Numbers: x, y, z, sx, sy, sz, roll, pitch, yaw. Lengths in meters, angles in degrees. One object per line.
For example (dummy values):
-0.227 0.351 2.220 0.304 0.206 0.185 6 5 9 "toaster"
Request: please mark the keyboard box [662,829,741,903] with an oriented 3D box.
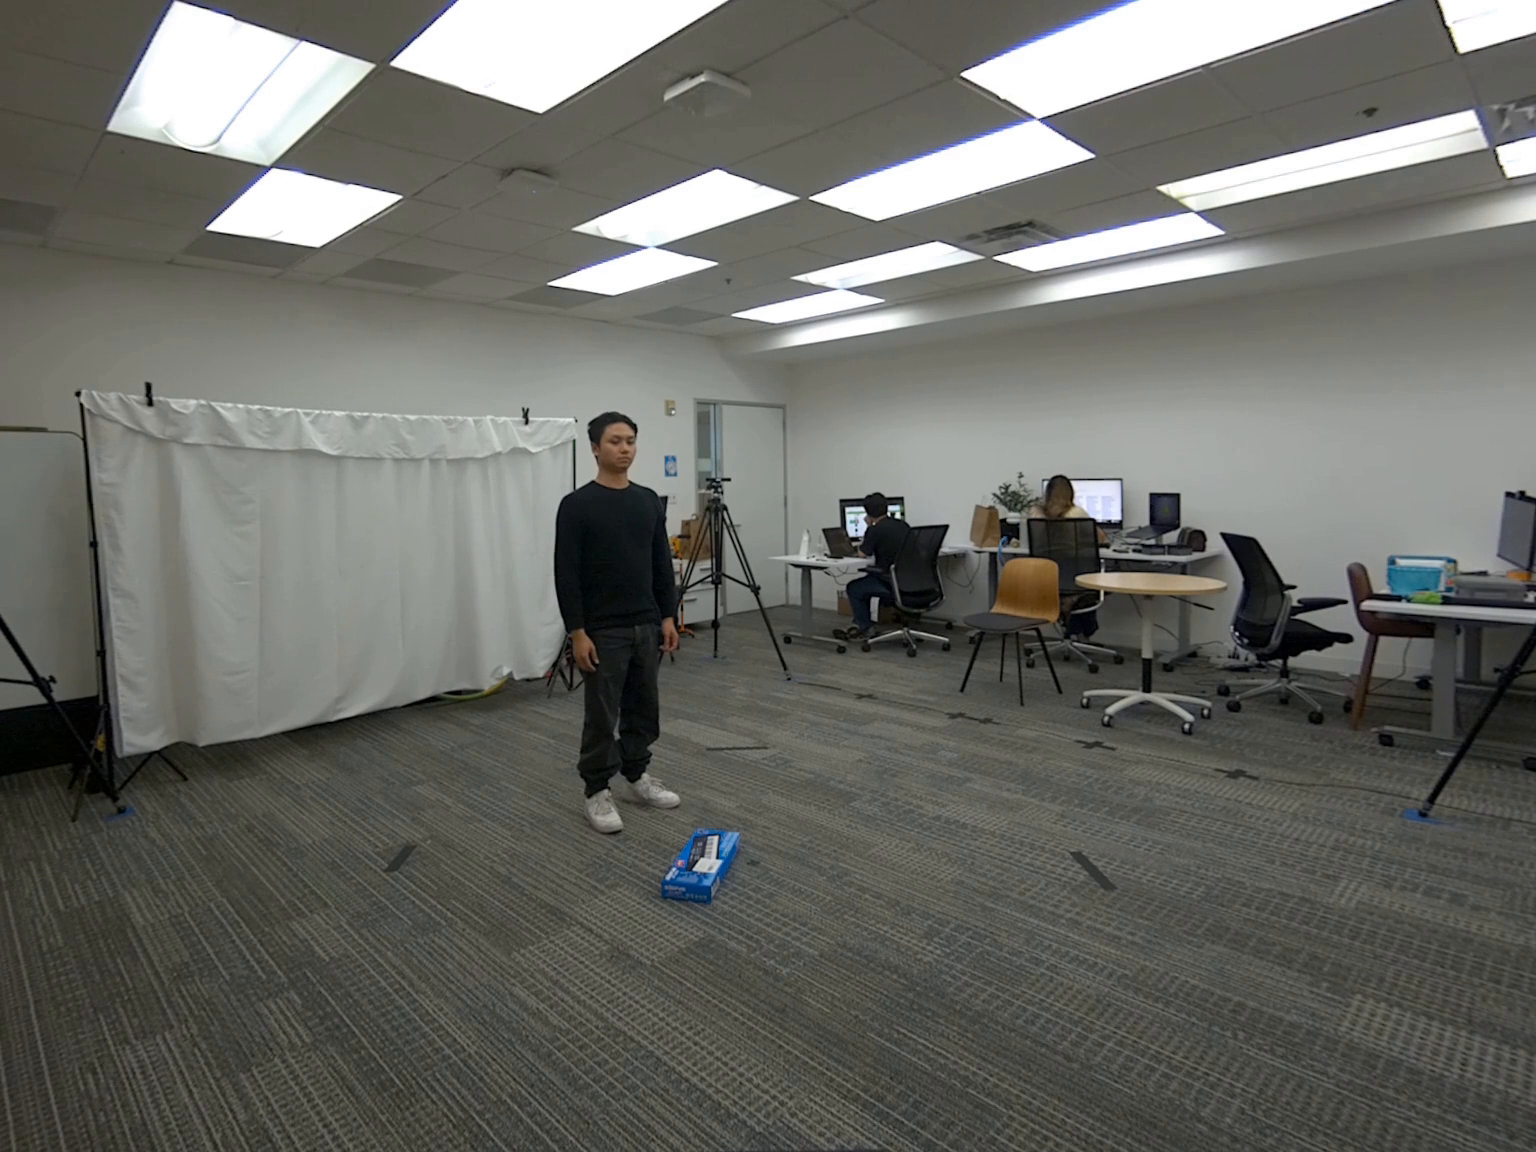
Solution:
-0.226 1.021 3.044 0.178 0.059 0.433 1 7 12 "keyboard box"
